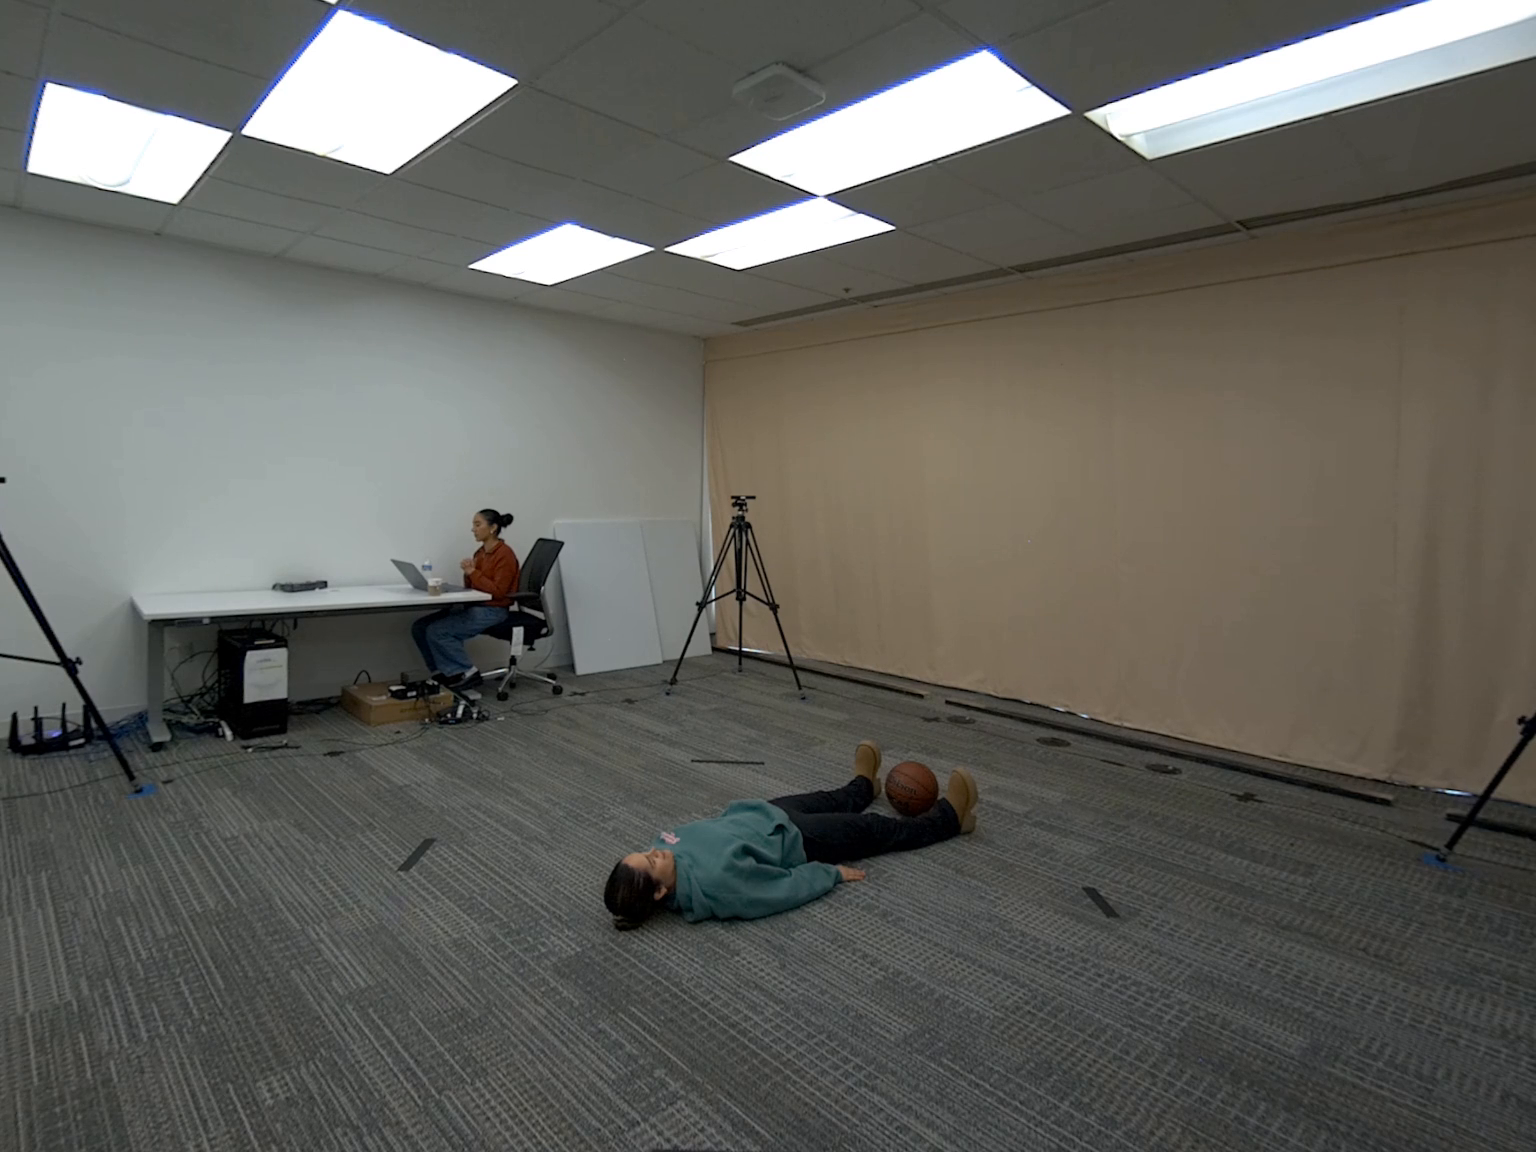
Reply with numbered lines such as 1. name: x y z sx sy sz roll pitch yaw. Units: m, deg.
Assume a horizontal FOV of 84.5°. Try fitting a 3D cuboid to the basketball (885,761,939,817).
1. basketball: 0.621 0.945 3.757 0.236 0.235 0.237 1 5 -1
